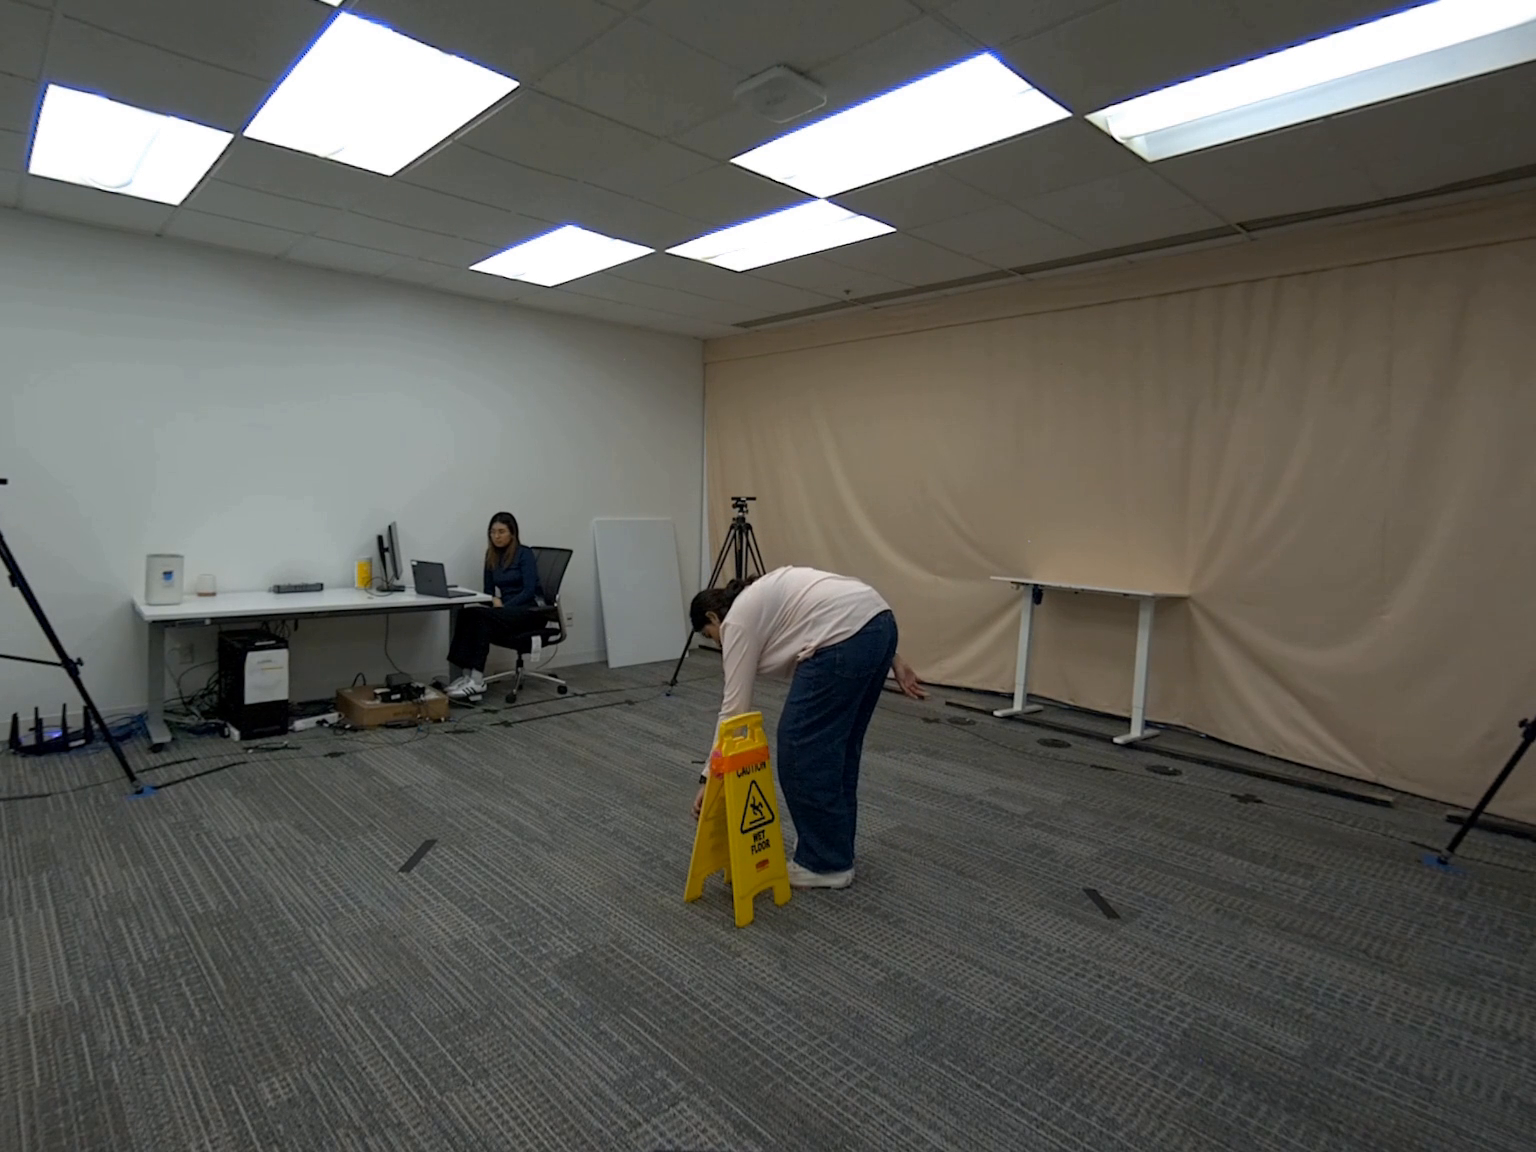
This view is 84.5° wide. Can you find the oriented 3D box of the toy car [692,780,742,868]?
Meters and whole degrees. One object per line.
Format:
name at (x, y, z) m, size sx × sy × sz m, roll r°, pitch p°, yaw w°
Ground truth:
toy car at (-0.182, 0.874, 2.993) m, size 0.085 × 0.252 × 0.128 m, roll 20°, pitch 22°, yaw 38°
